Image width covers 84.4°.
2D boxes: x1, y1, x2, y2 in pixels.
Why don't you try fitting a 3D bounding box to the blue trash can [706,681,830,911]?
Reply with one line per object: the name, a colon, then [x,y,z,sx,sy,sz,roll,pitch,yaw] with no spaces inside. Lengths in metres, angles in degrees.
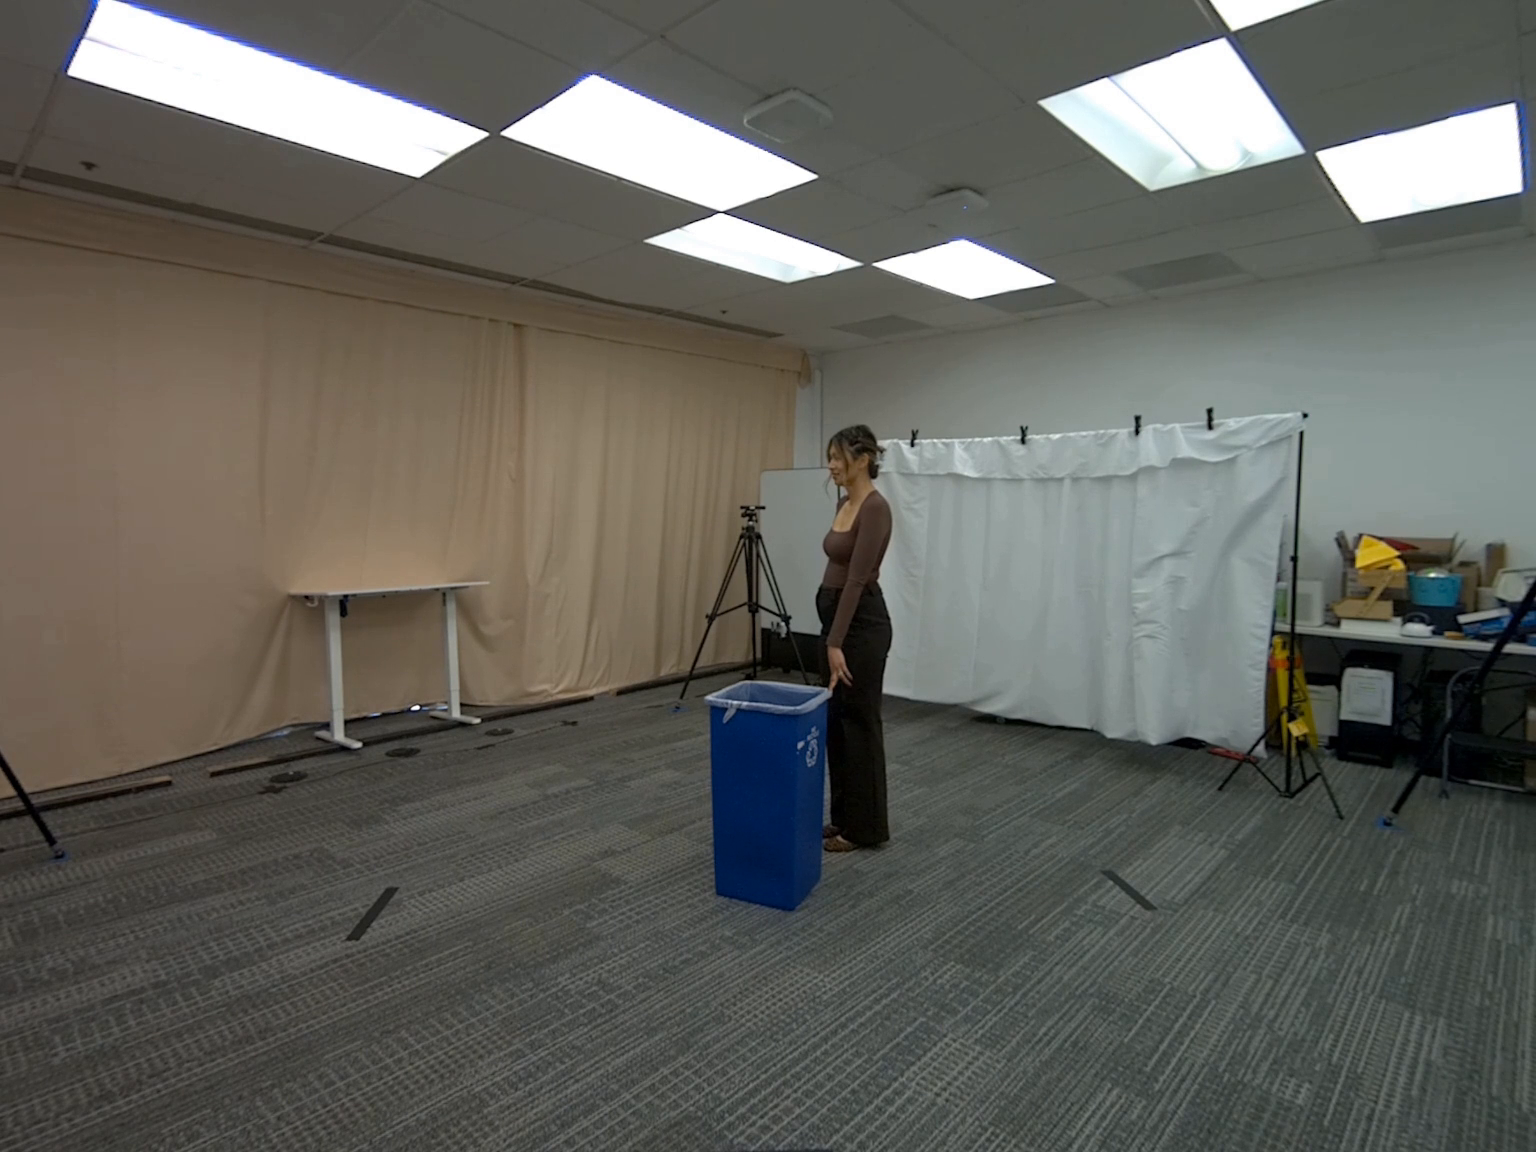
blue trash can: [0.008,0.777,3.071,0.388,0.712,0.365,2,4,25]
